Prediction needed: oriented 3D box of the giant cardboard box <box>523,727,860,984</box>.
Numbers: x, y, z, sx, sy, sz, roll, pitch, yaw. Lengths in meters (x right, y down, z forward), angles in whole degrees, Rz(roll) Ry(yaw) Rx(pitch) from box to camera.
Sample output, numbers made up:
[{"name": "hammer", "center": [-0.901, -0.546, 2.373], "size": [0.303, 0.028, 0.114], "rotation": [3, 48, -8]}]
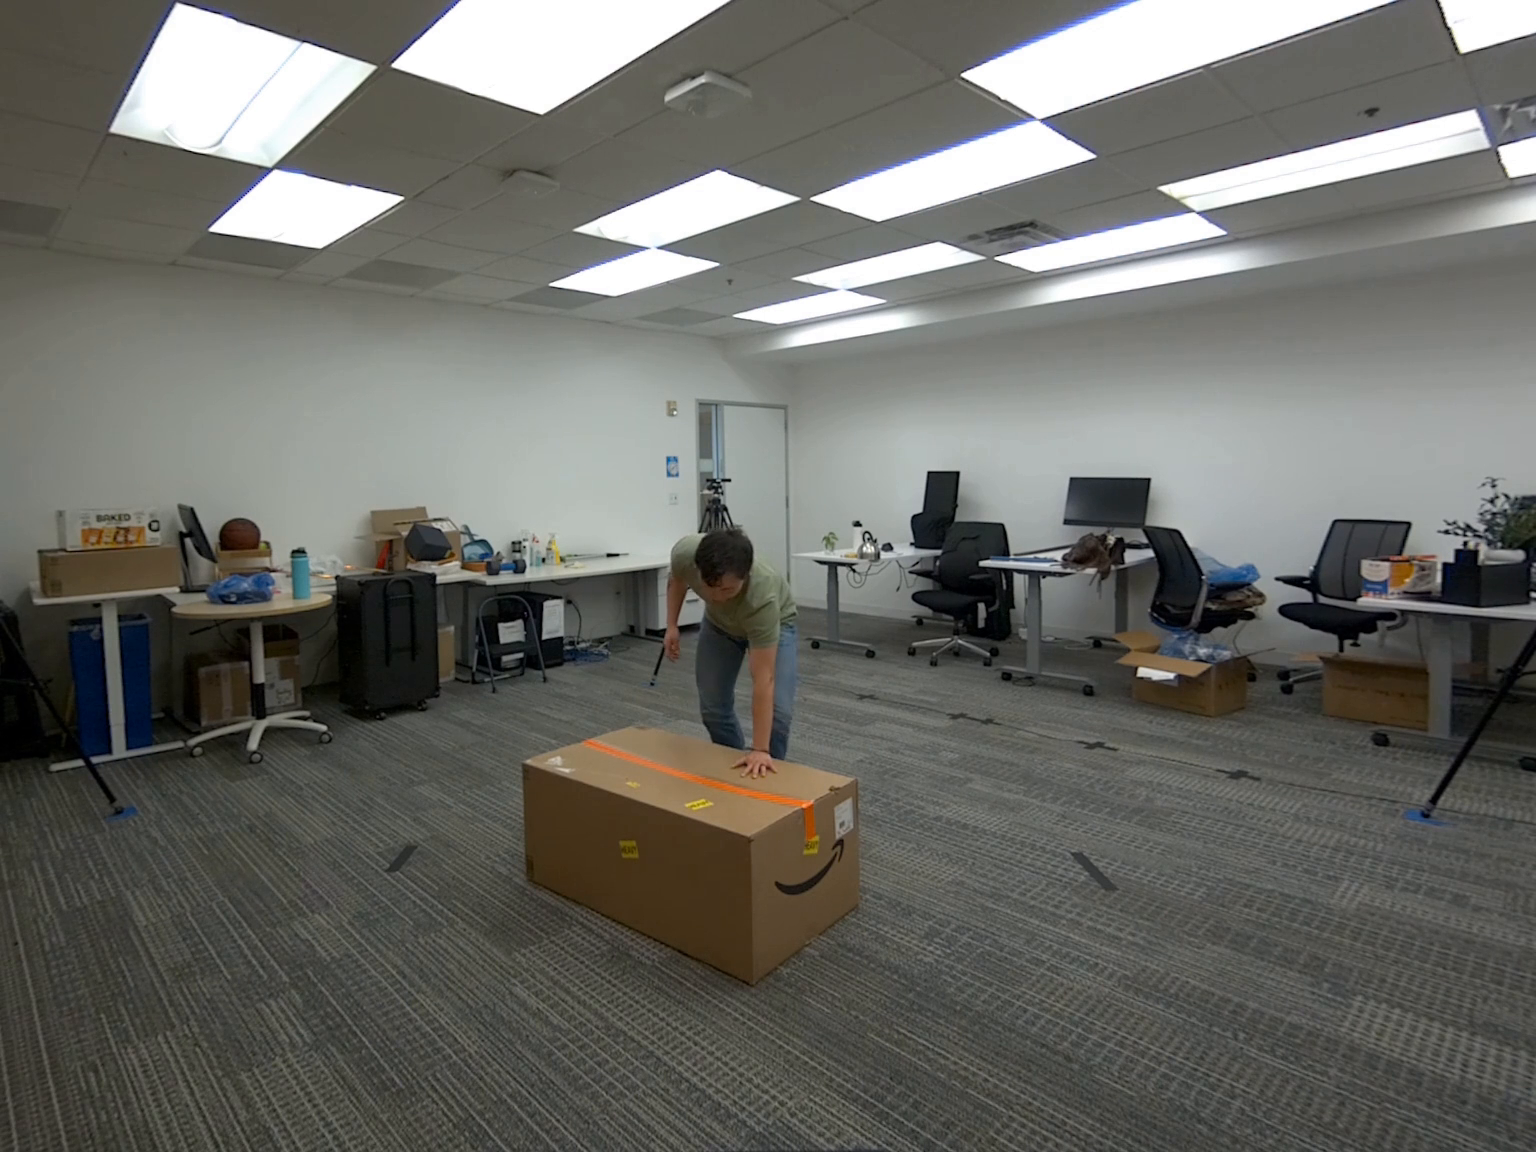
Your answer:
[{"name": "giant cardboard box", "center": [-0.279, 0.862, 2.888], "size": [1.057, 0.424, 0.563], "rotation": [4, 8, 39]}]
